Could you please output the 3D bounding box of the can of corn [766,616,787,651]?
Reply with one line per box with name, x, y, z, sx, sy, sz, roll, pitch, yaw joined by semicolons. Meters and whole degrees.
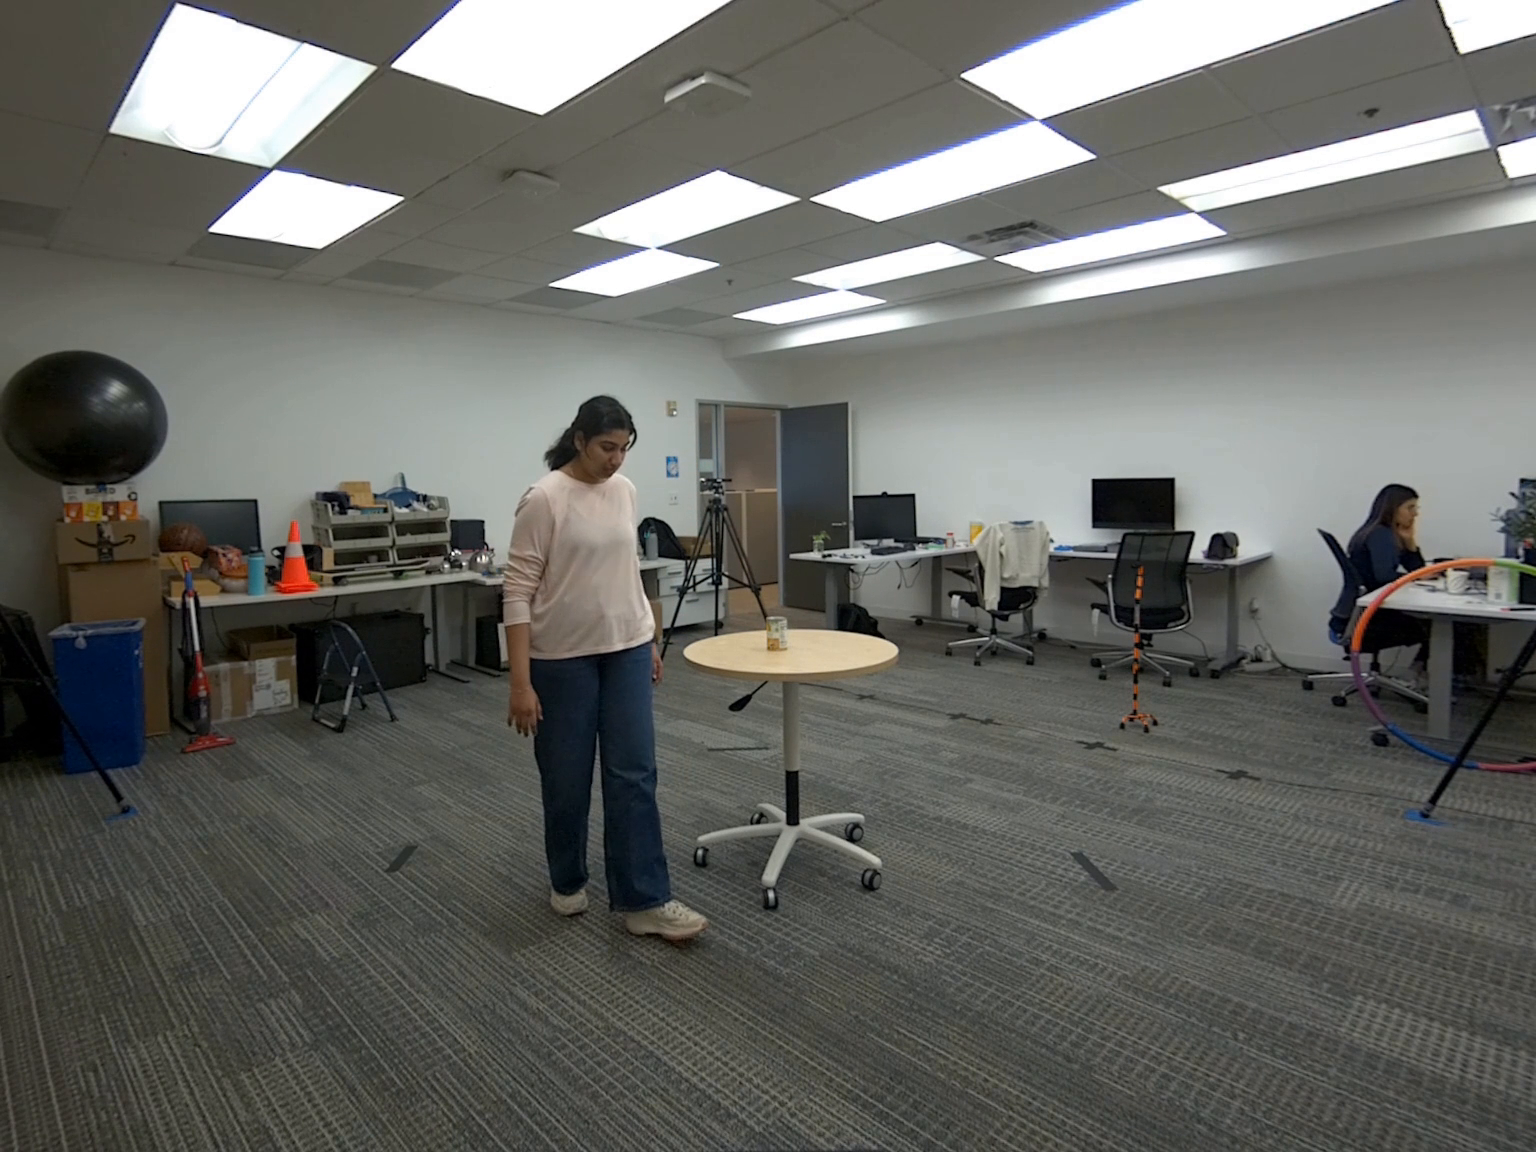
can of corn;0.035;0.205;3.068;0.074;0.110;0.074;-2;6;-1
